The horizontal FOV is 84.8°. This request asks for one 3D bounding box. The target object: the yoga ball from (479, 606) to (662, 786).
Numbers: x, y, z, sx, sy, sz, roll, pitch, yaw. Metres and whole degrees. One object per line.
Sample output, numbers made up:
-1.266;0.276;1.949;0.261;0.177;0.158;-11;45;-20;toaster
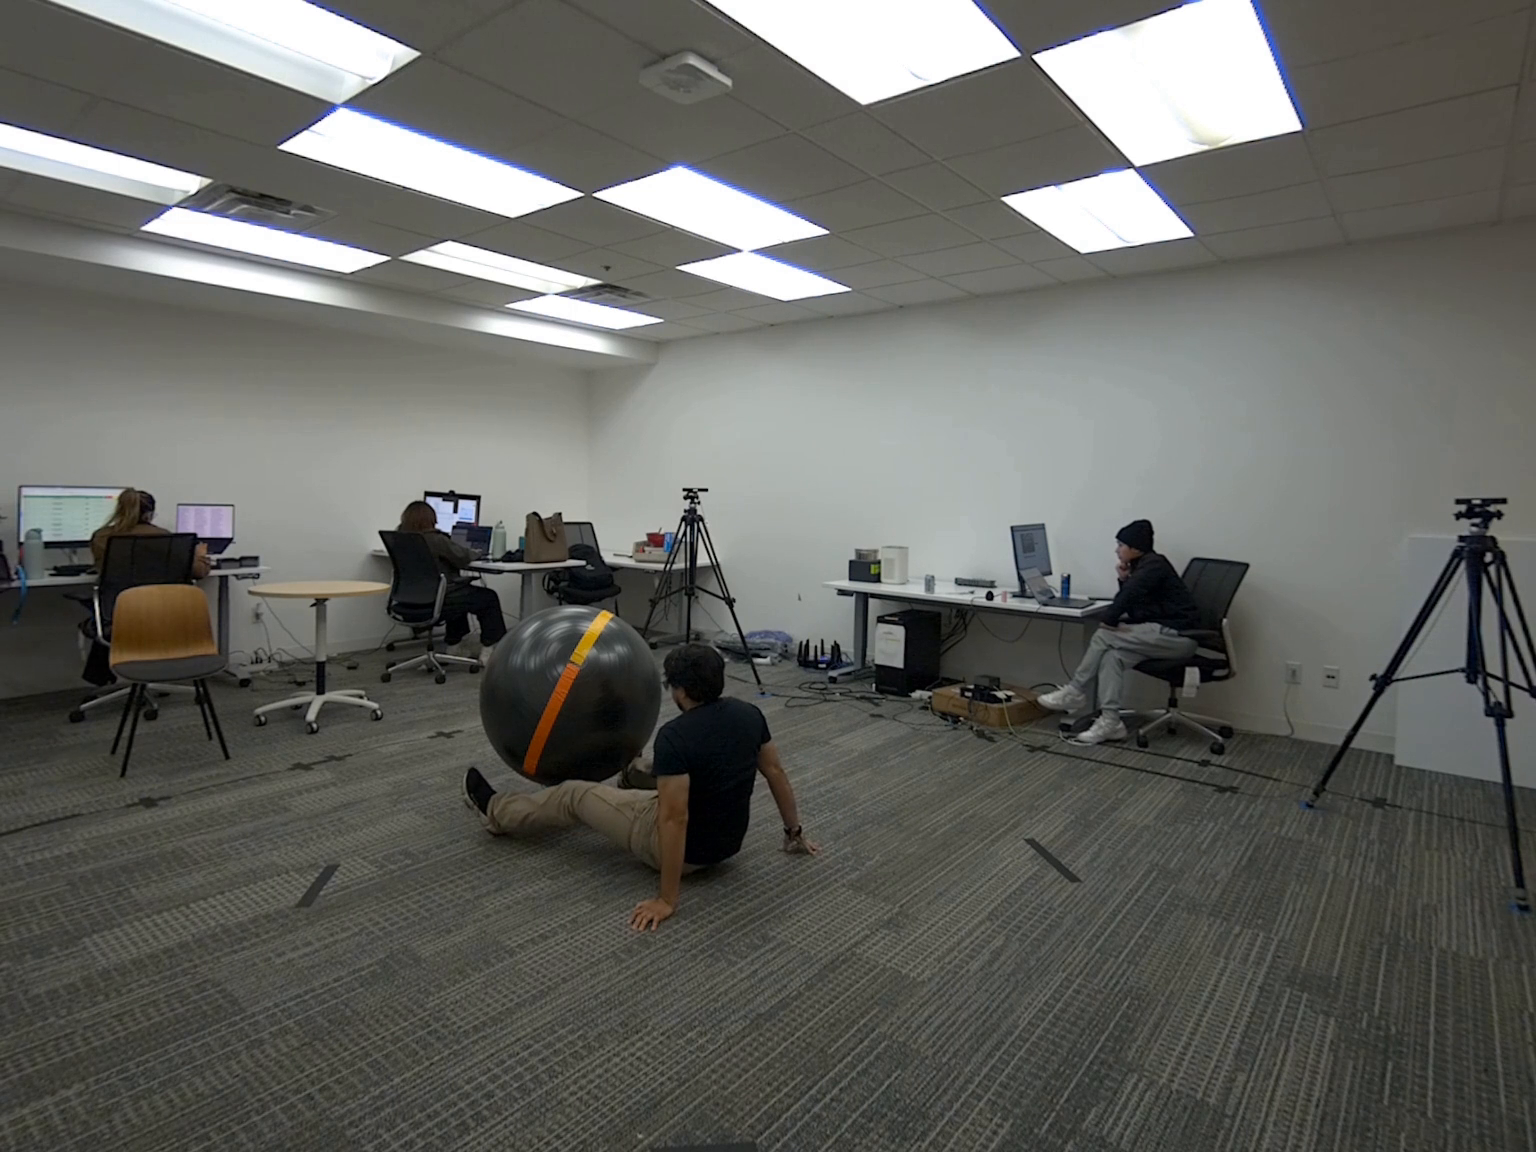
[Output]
-0.847;0.505;3.595;0.757;0.755;0.762;1;4;-2;yoga ball
